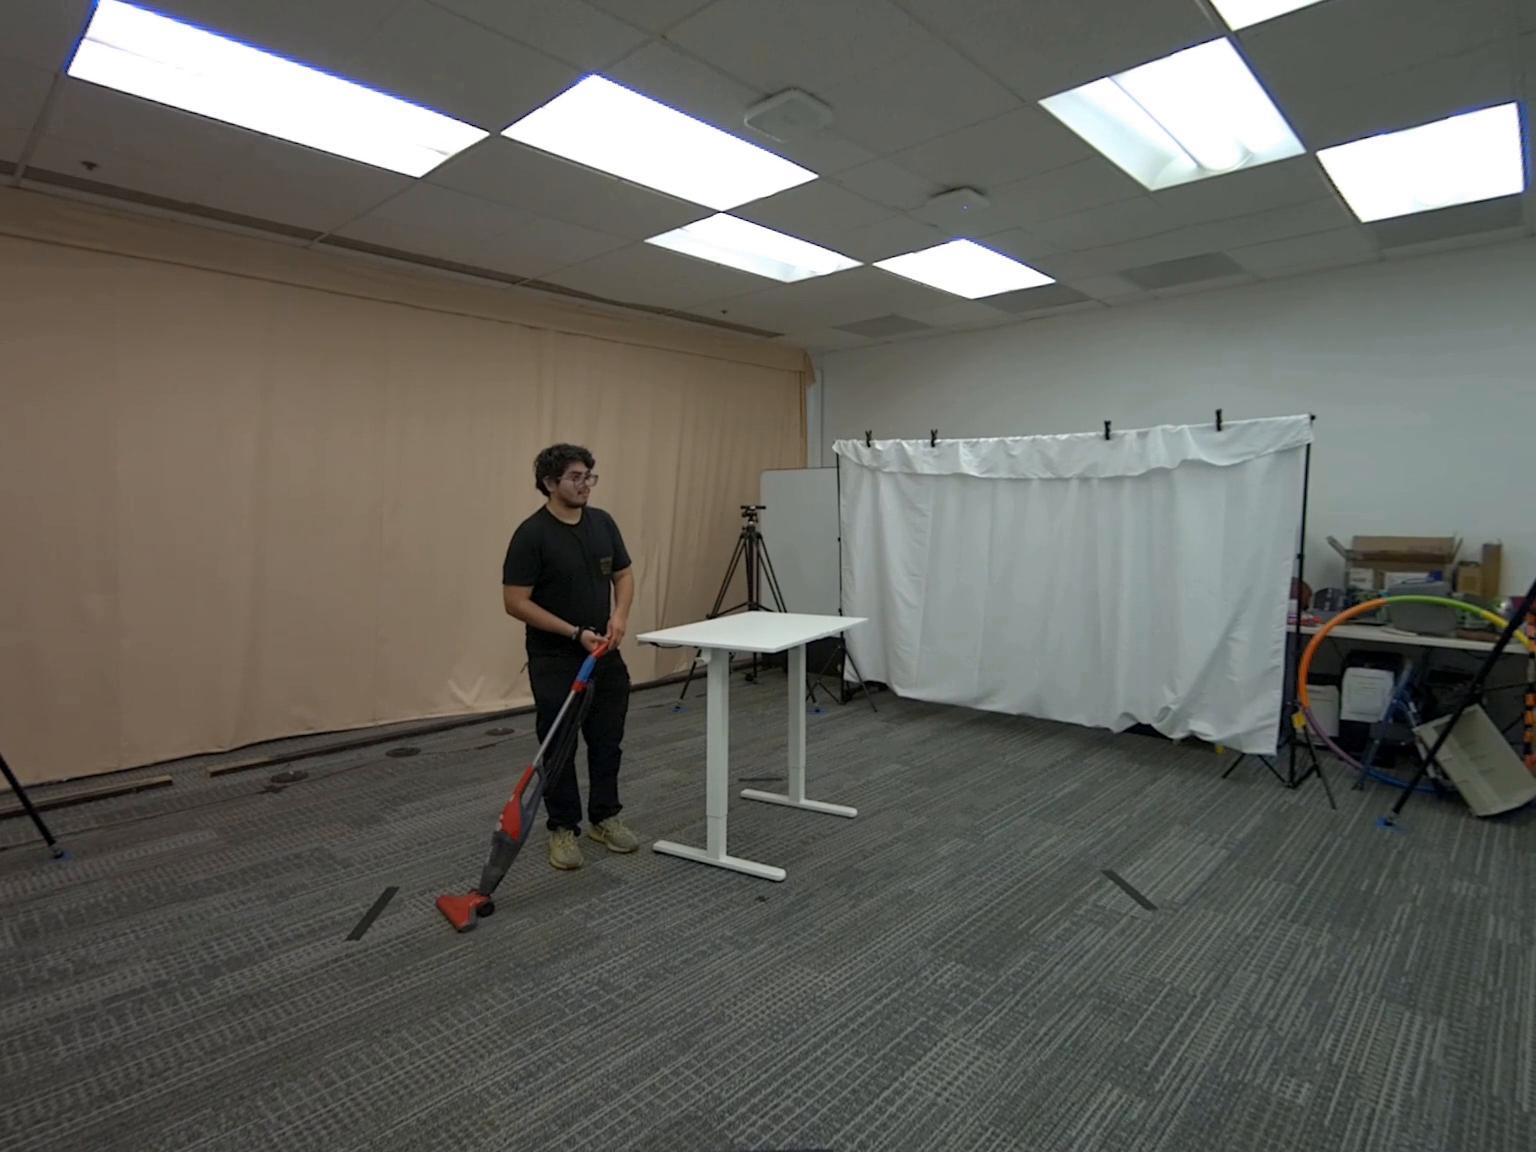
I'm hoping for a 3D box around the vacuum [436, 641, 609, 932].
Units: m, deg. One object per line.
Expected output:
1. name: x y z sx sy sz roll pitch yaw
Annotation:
1. vacuum: -0.811 0.696 3.040 0.261 1.050 0.139 12 -23 40
